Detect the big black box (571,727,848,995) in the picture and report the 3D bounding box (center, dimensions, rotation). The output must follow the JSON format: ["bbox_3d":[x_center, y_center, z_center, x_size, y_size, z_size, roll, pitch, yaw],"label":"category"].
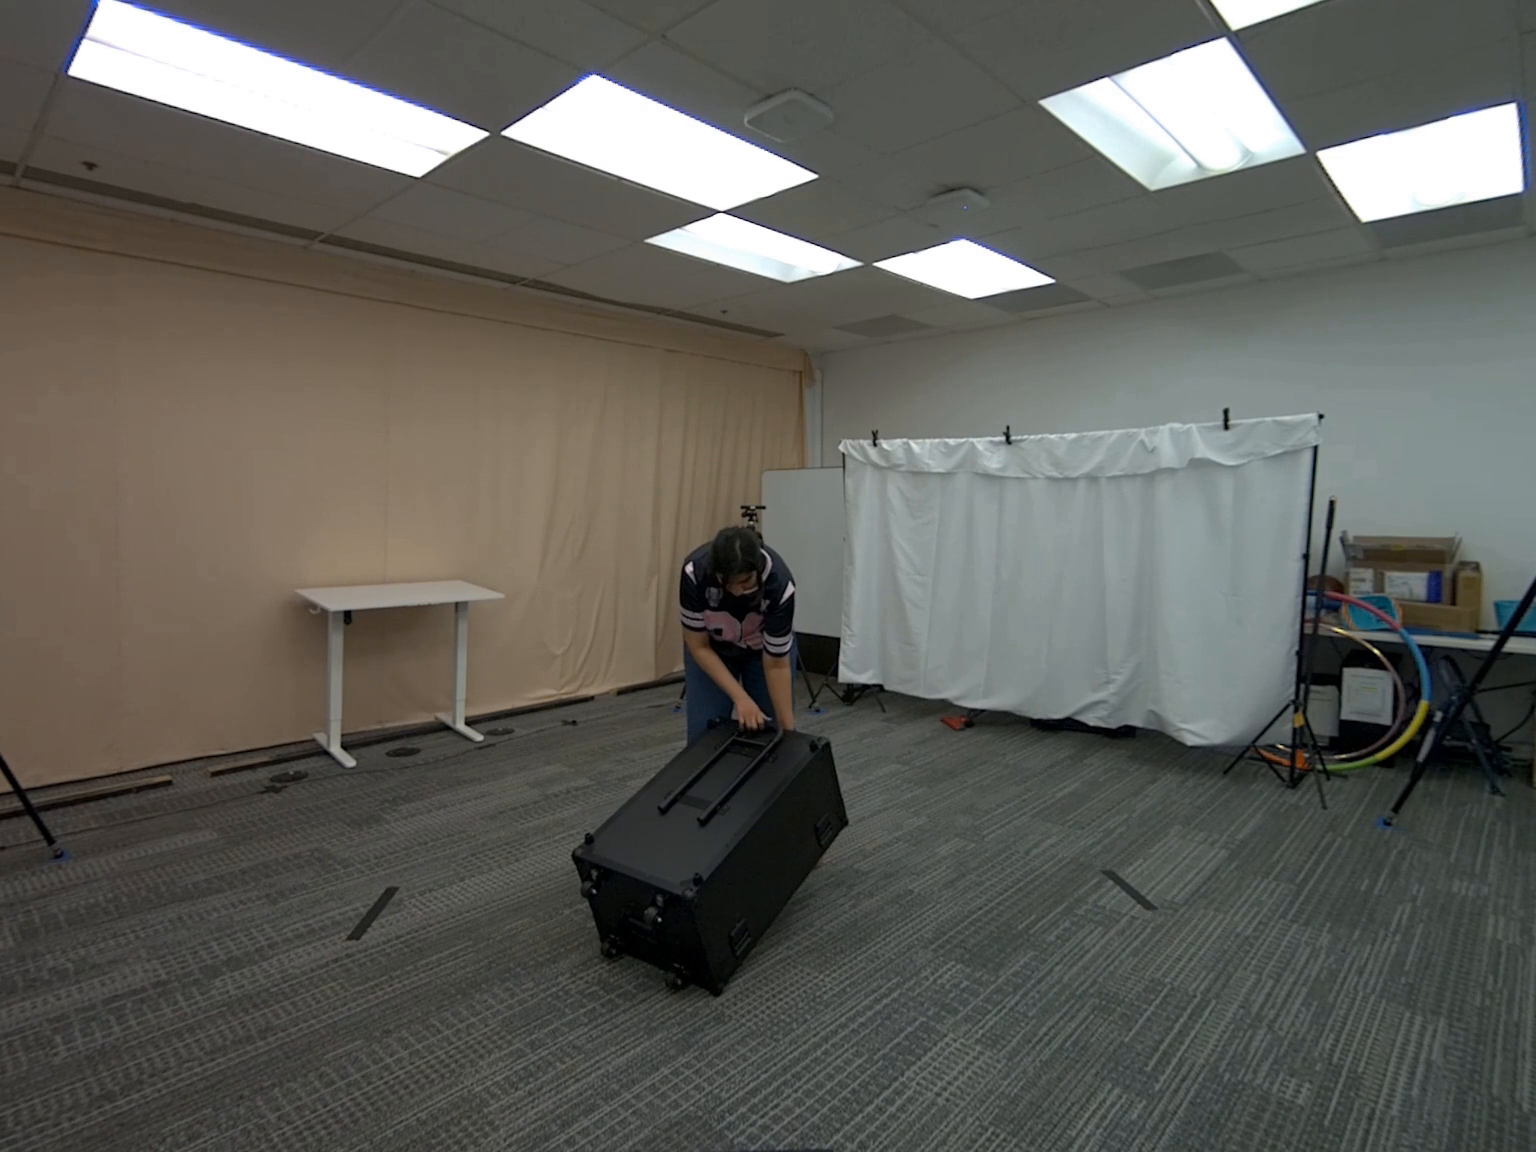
[{"bbox_3d":[-0.175,0.872,2.721,0.540,0.379,0.855,5,28,37],"label":"big black box"}]
